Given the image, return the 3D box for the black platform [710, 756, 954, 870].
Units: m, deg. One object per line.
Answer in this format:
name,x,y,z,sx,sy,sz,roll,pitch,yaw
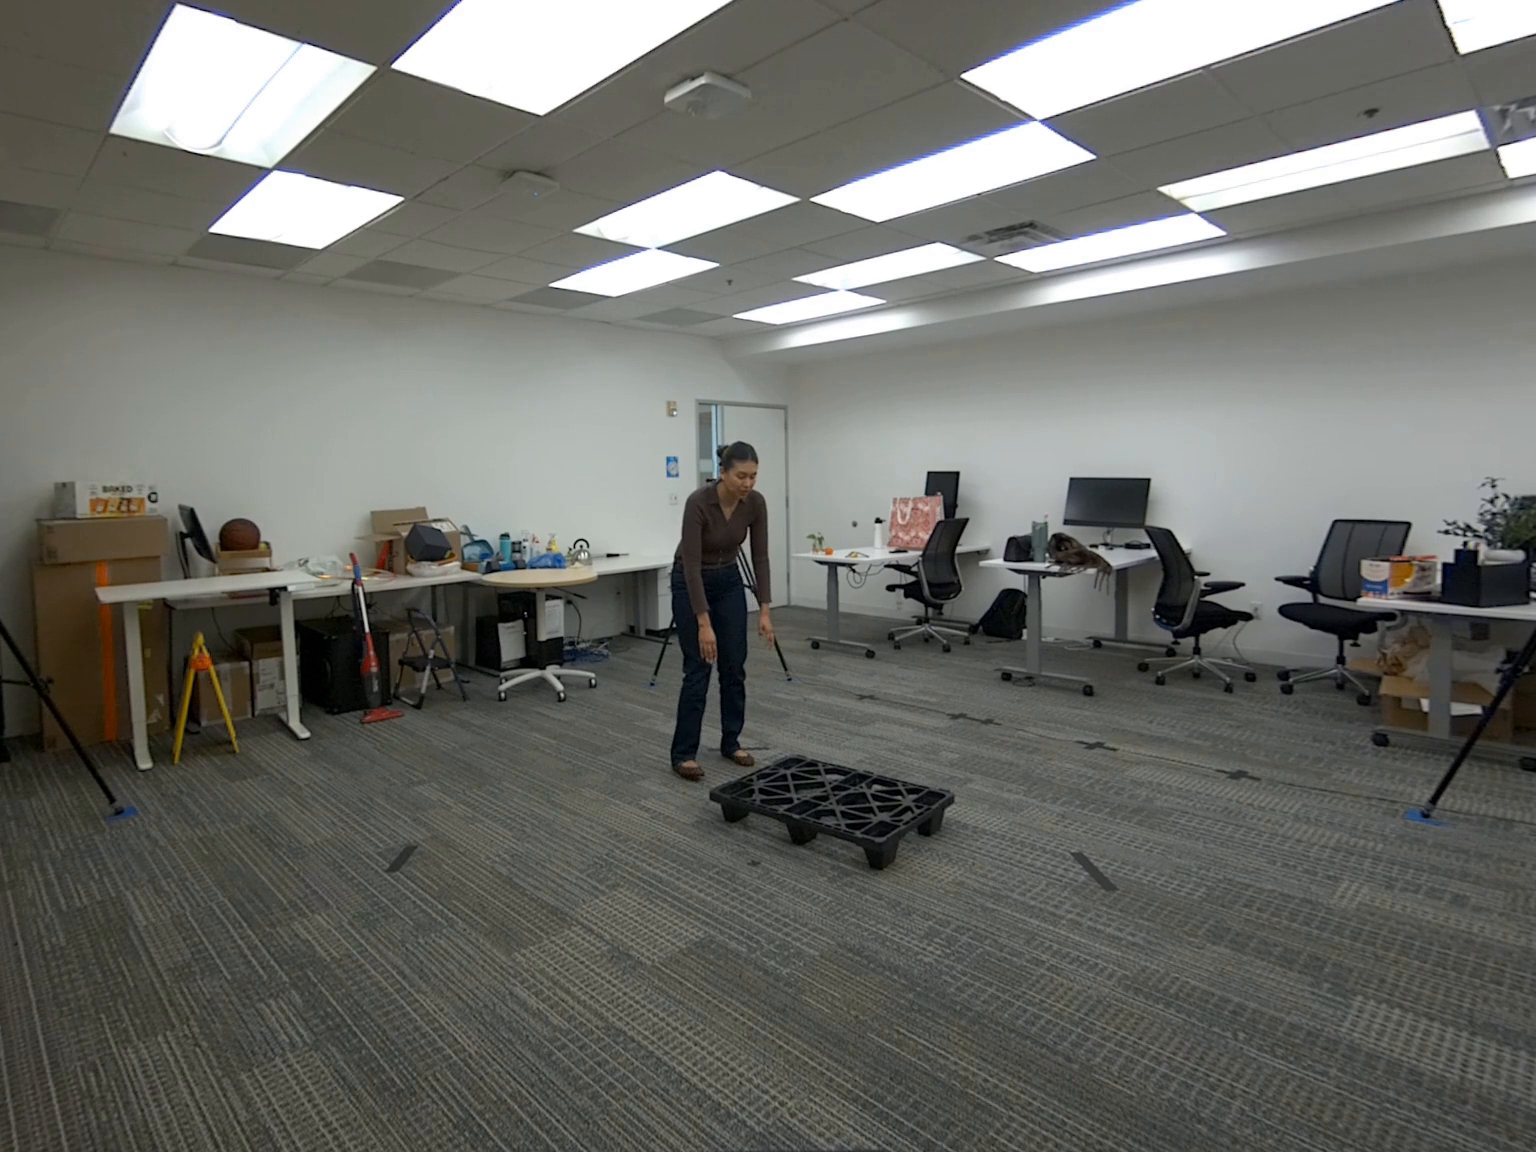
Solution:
black platform,0.254,0.934,3.443,0.830,0.143,0.589,5,7,39
